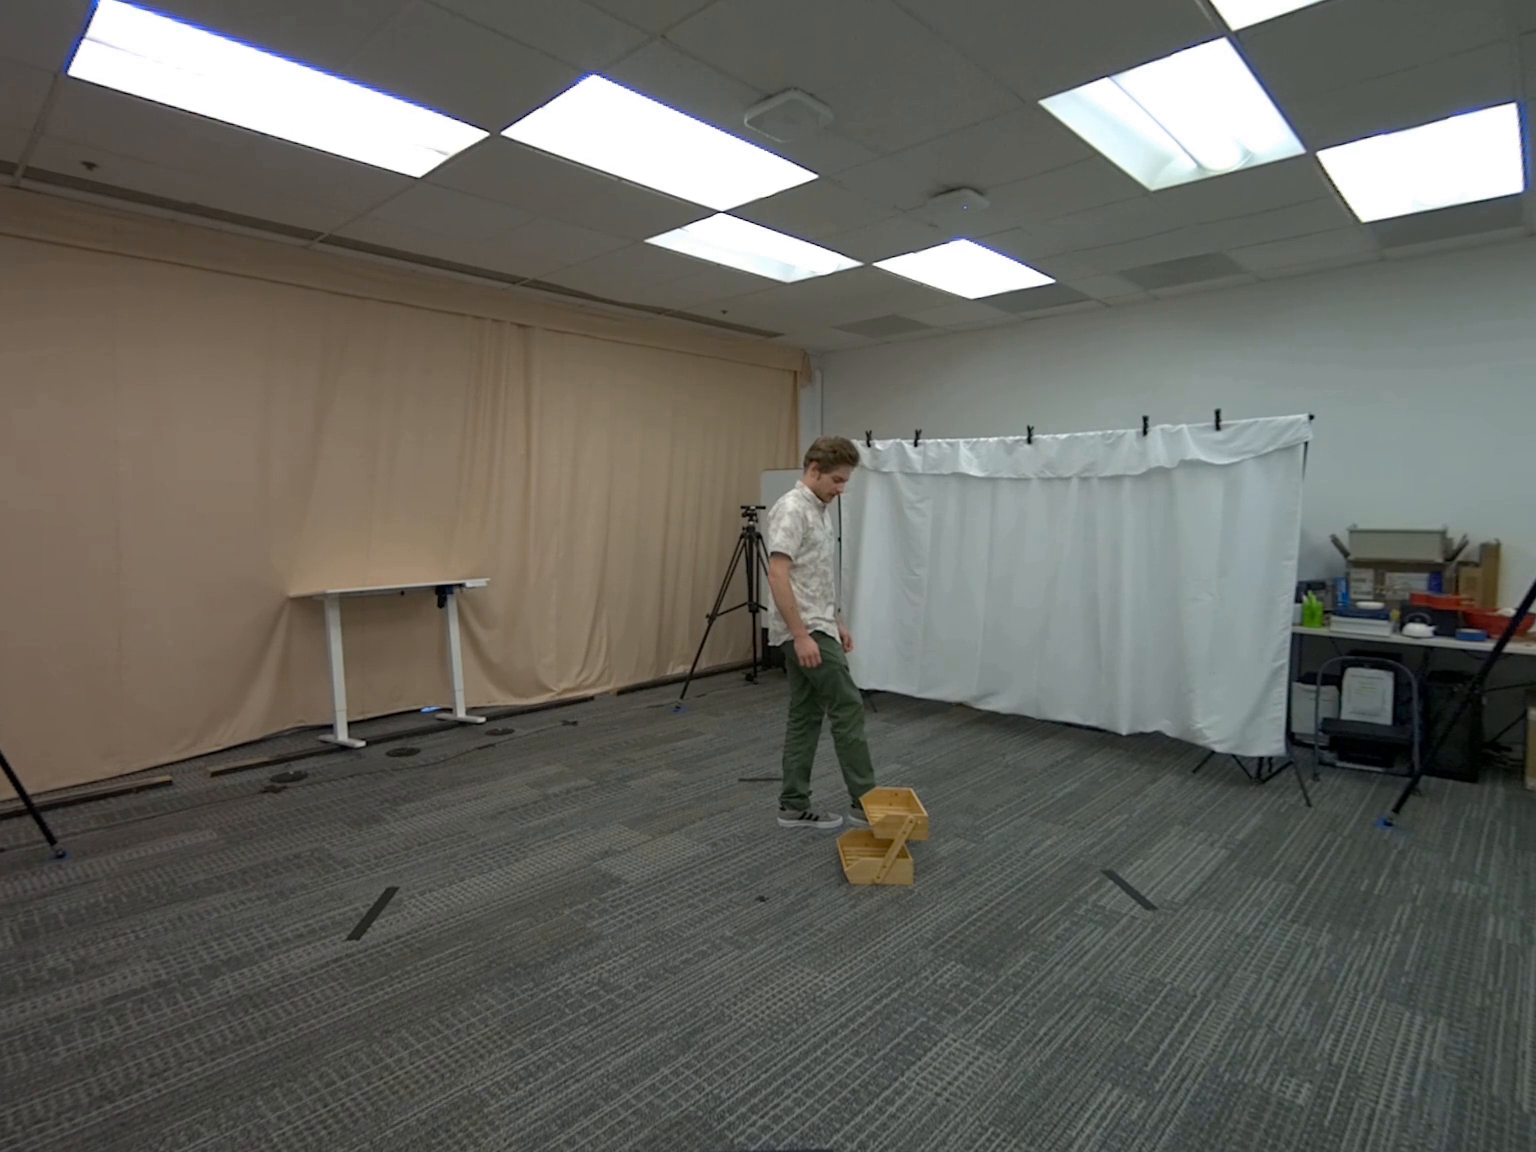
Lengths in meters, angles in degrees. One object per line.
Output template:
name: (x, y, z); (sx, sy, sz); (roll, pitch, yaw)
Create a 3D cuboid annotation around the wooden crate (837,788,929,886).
wooden crate: (0.428, 0.984, 3.238); (0.302, 0.273, 0.325); (1, 3, 0)
